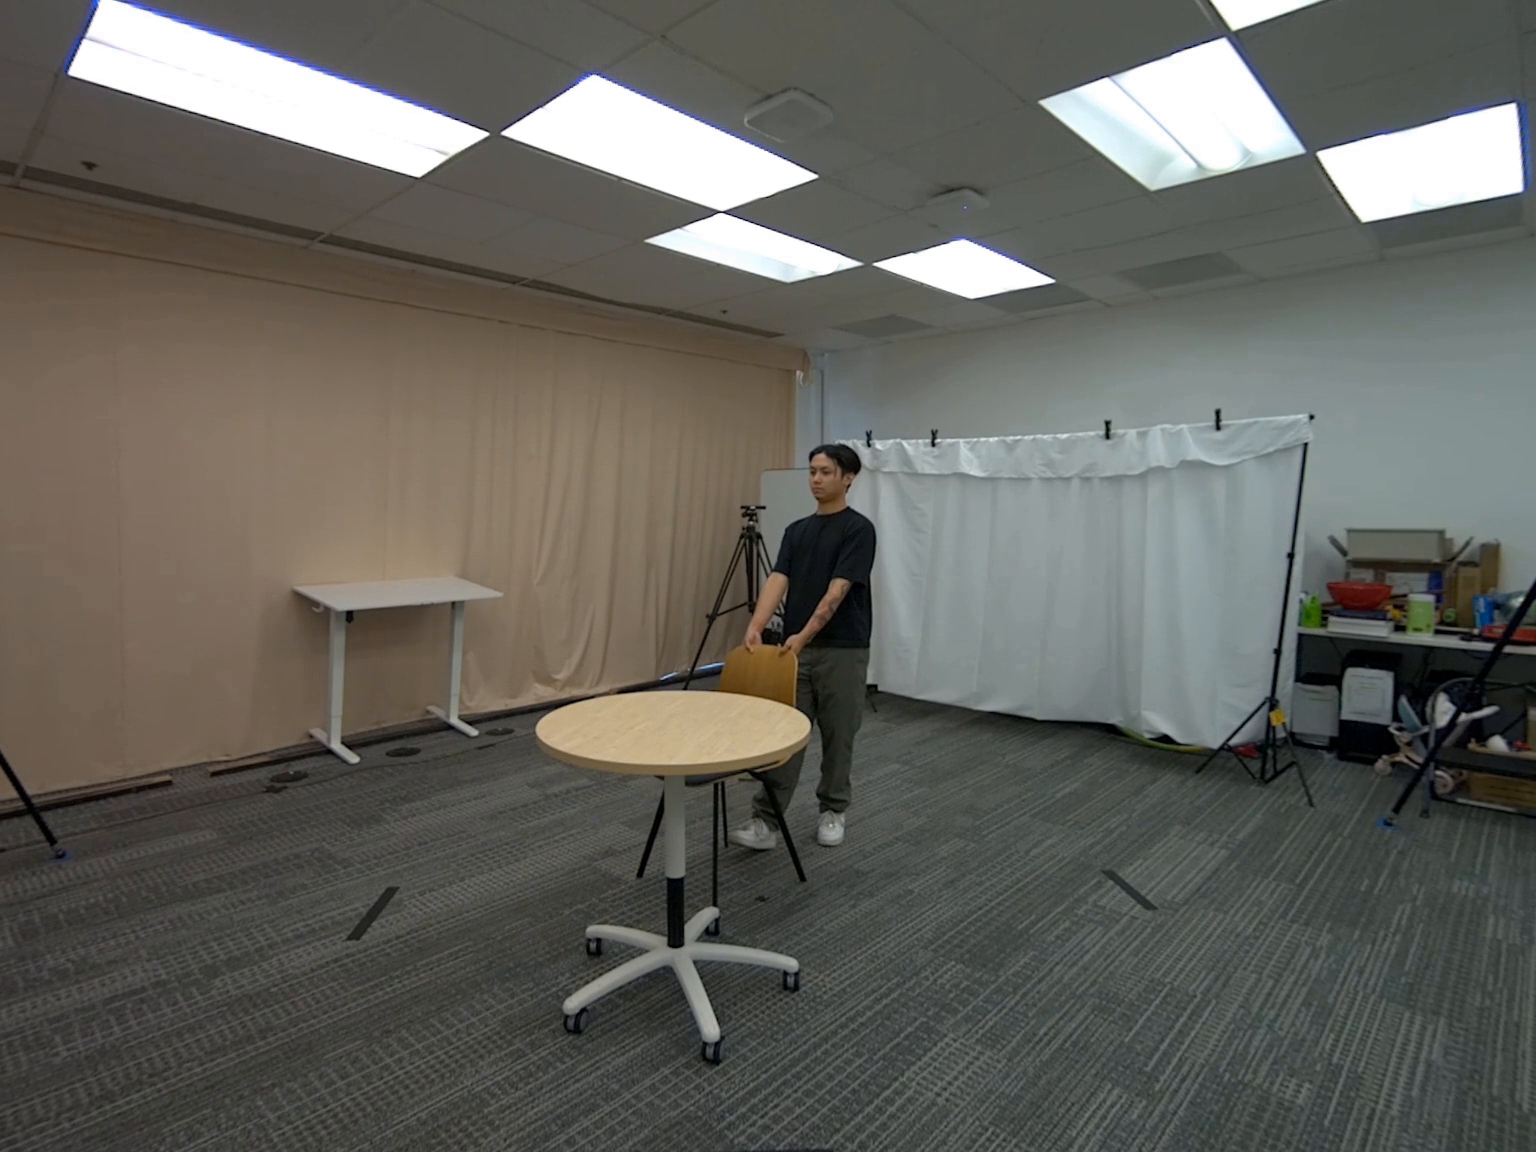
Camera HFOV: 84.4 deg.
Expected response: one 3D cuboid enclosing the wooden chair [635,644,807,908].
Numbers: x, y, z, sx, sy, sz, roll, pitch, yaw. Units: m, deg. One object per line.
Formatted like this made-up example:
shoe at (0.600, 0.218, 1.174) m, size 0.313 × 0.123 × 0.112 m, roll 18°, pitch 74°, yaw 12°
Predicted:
wooden chair at (-0.179, 0.704, 3.100) m, size 0.506 × 0.877 × 0.494 m, roll 3°, pitch 0°, yaw -43°
